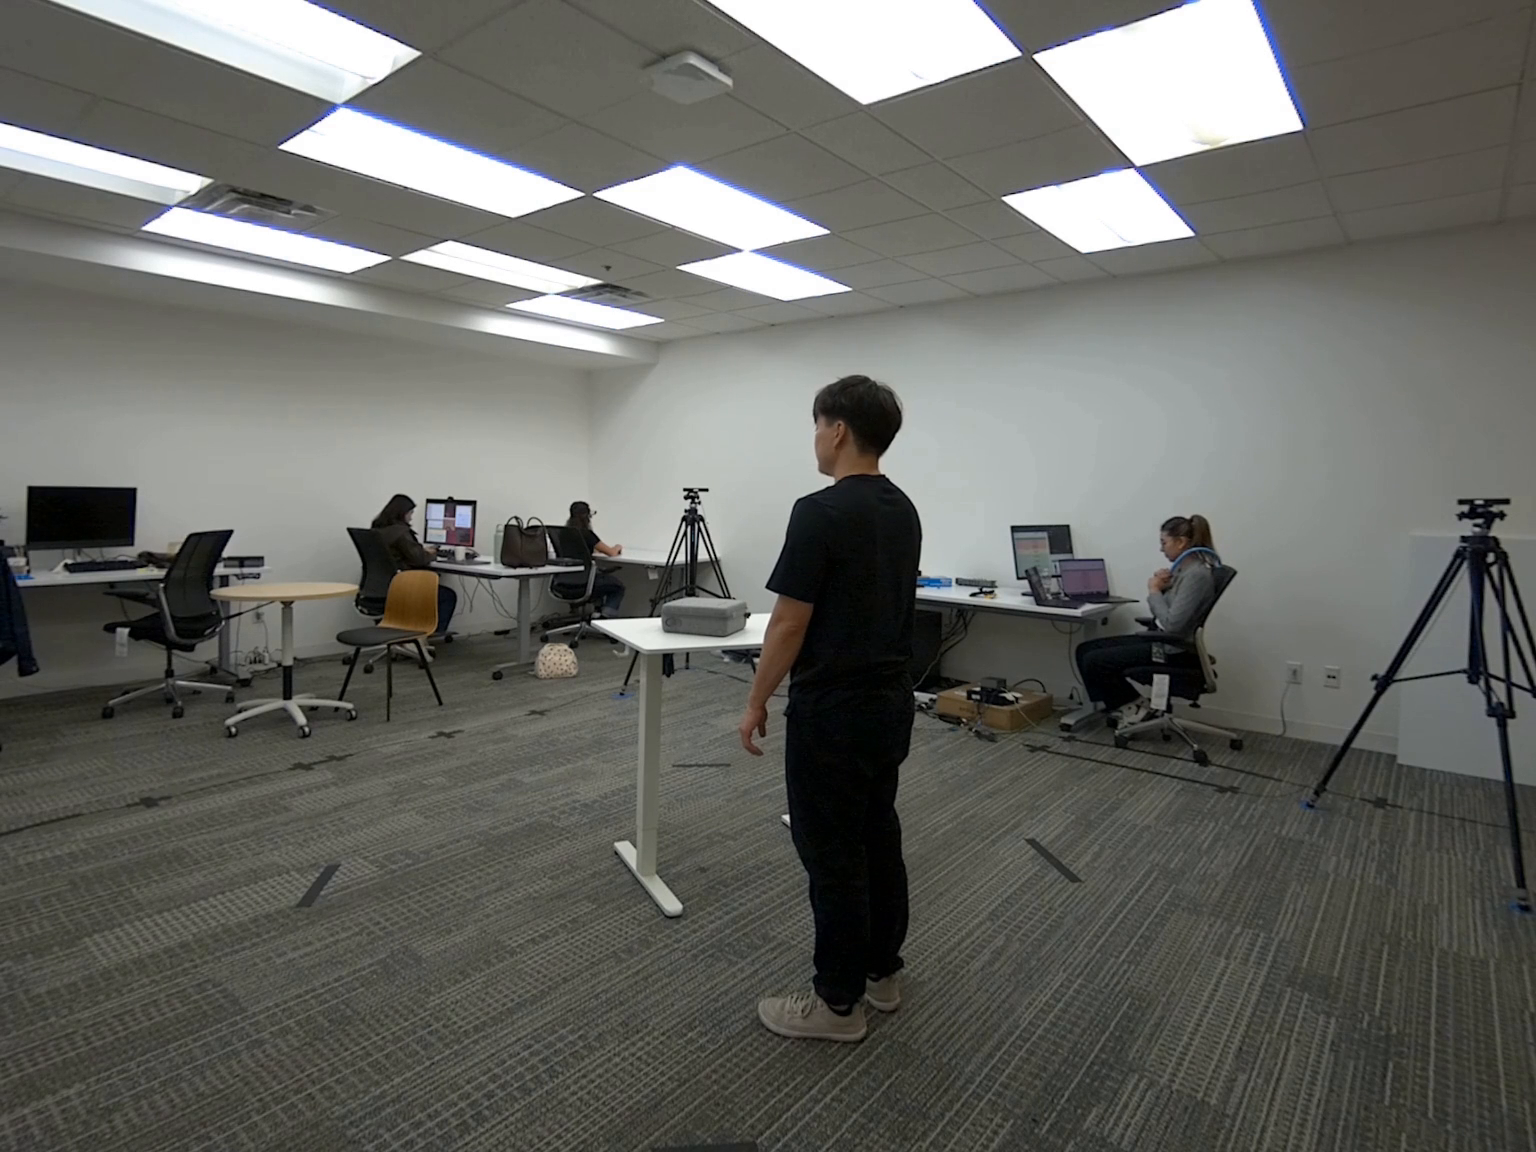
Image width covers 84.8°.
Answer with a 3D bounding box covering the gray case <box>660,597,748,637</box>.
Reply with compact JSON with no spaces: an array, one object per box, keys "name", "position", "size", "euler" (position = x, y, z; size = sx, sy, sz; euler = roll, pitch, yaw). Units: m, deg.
[{"name":"gray case","position":[-0.237,0.138,3.042],"size":[0.266,0.104,0.253],"euler":[3,6,19]}]
